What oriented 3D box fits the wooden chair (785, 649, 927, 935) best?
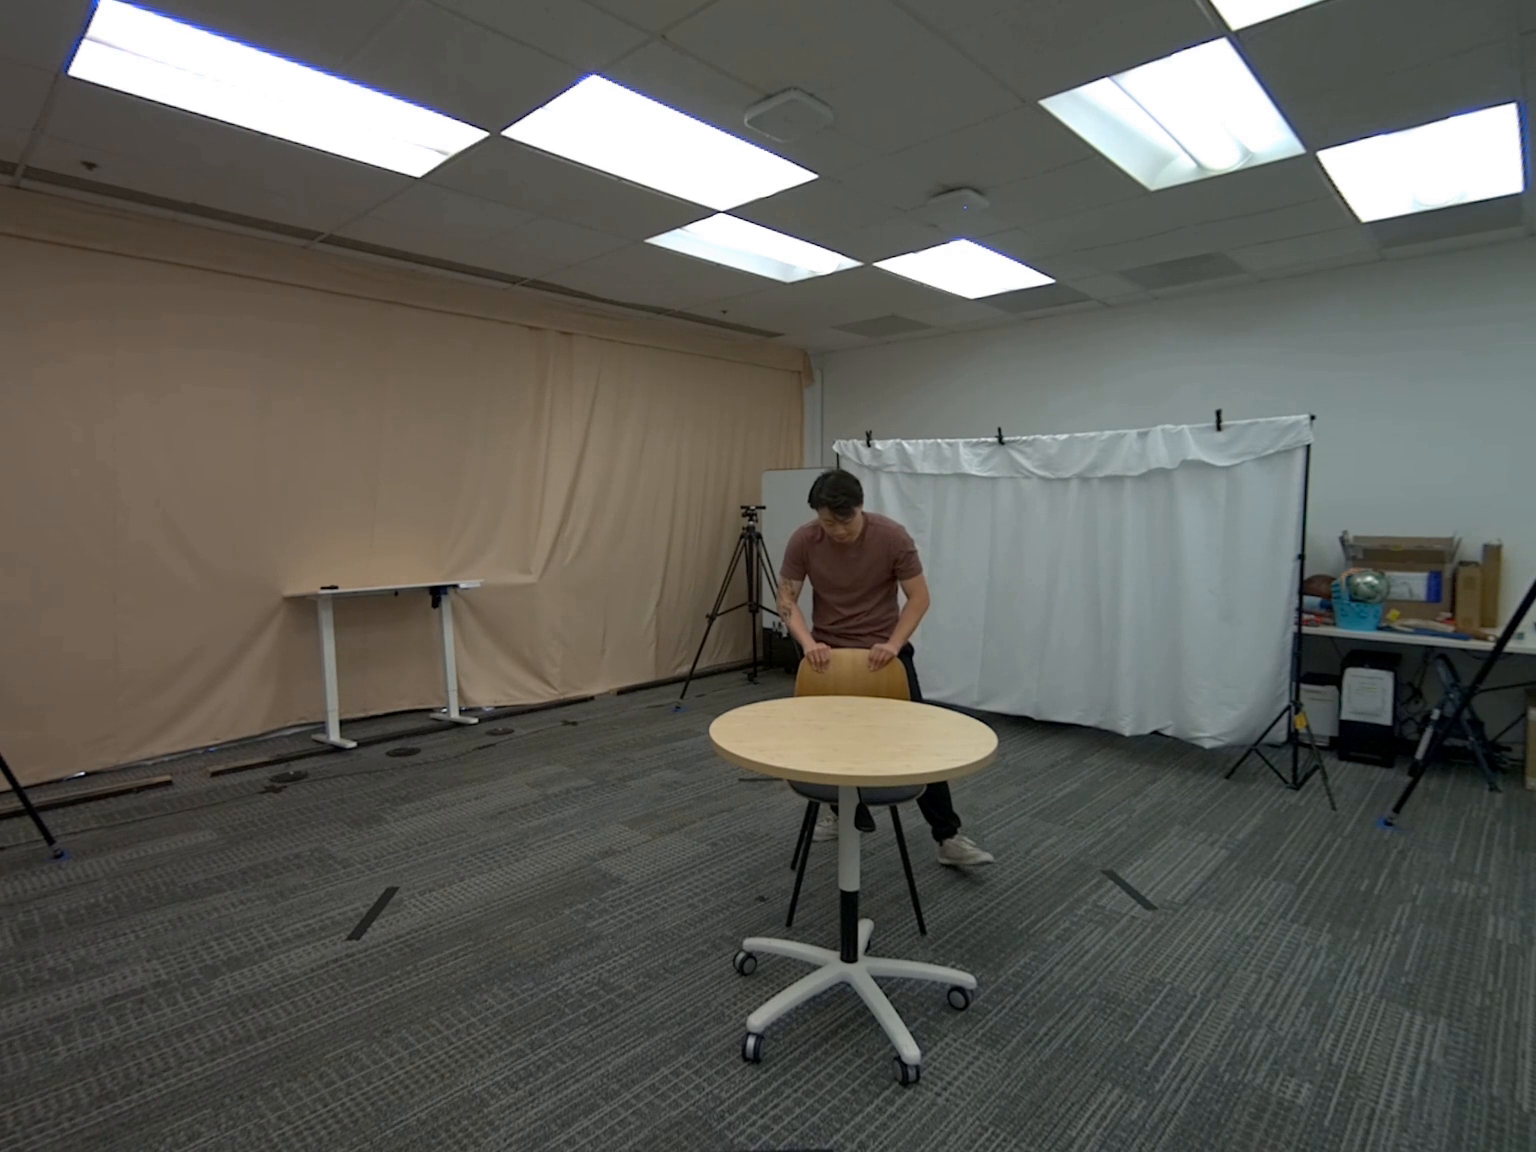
[{"bbox_3d":[0.301,0.714,2.937,0.482,0.878,0.518,1,-1,7],"label":"wooden chair"}]
